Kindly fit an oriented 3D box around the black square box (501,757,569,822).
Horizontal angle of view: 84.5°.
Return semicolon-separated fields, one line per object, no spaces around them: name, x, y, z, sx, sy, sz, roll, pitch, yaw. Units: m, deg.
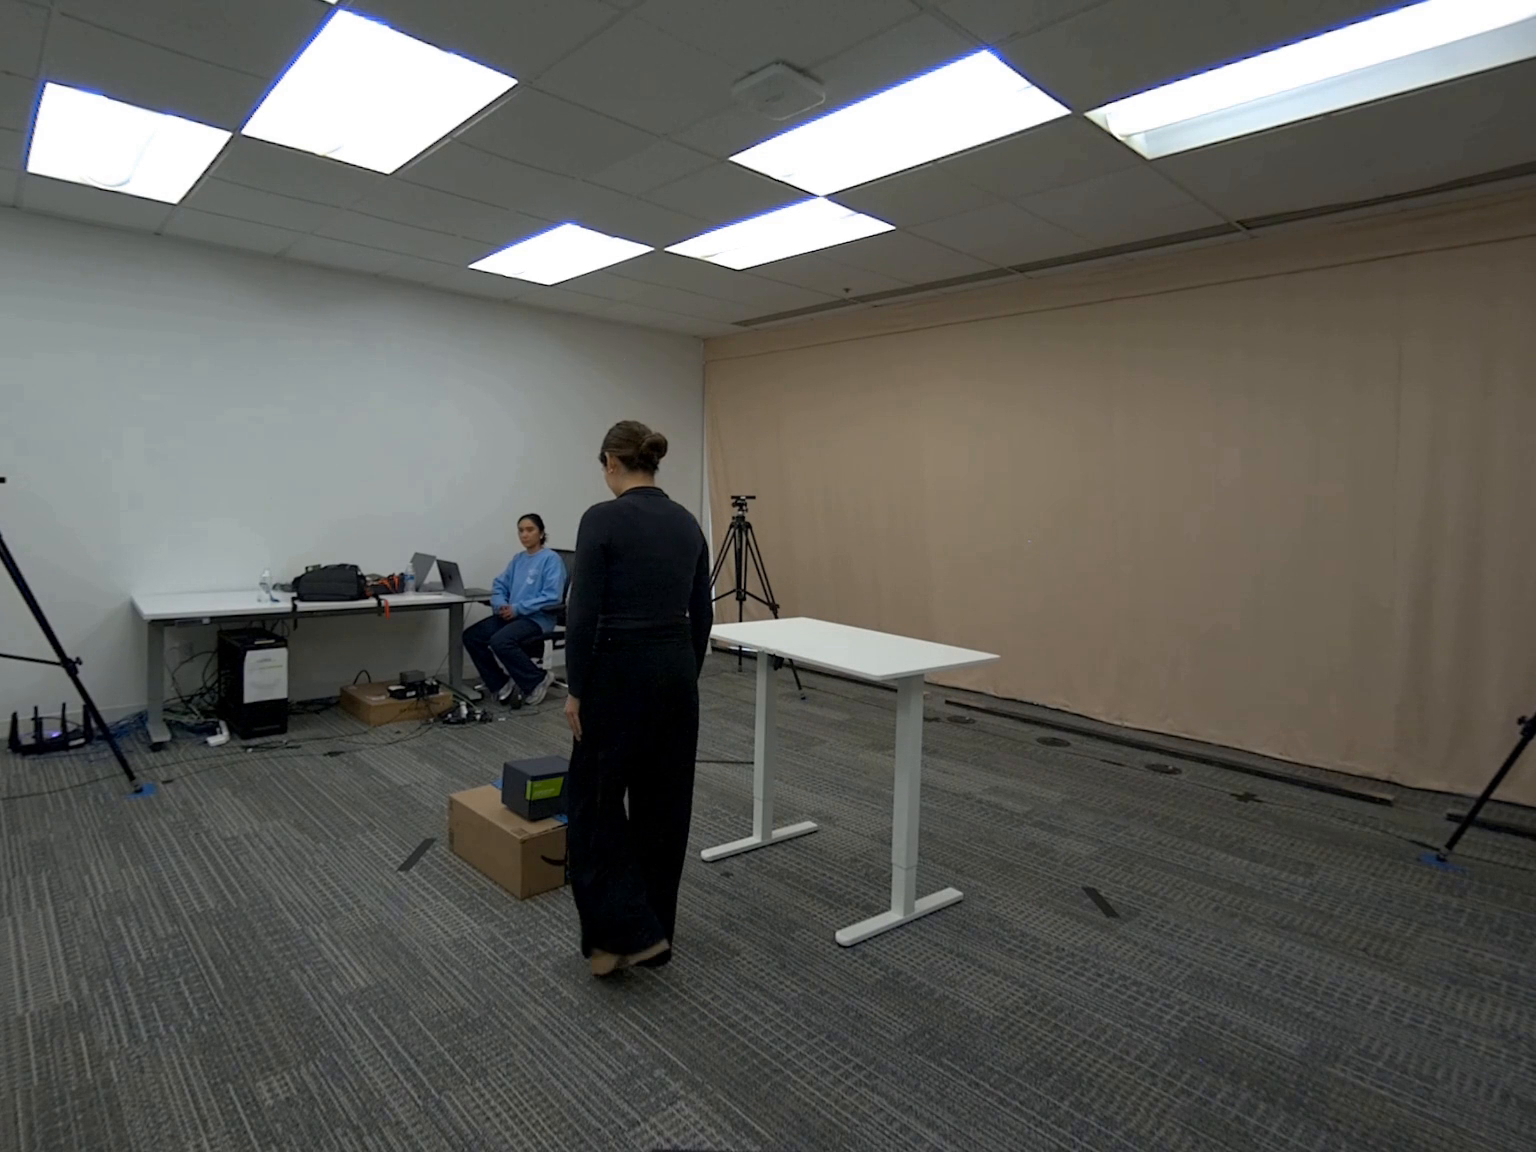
black square box;-0.839;0.779;3.127;0.222;0.156;0.222;3;2;-44
